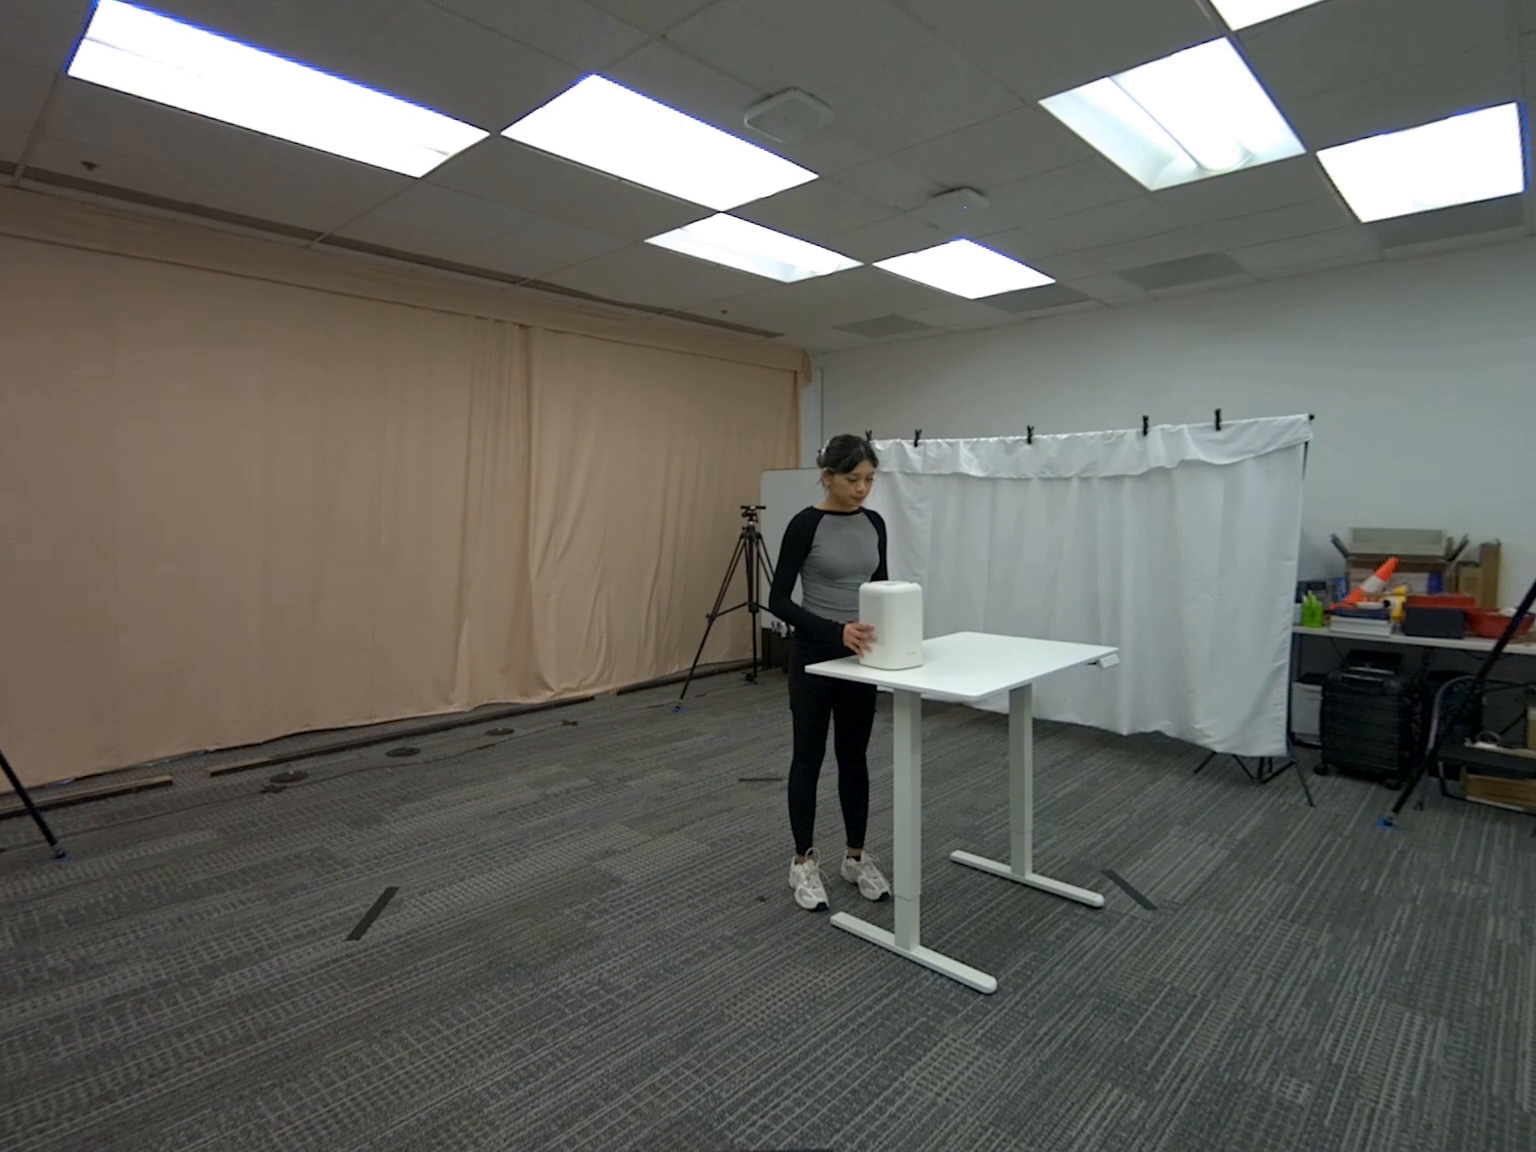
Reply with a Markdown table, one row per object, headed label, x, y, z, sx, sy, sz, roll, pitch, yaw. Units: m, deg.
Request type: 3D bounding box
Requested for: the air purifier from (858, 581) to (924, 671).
| label | x | y | z | sx | sy | sz | roll | pitch | yaw |
| --- | --- | --- | --- | --- | --- | --- | --- | --- | --- |
| air purifier | 0.394 | 0.153 | 2.700 | 0.166 | 0.265 | 0.177 | -5 | 5 | -33 |
